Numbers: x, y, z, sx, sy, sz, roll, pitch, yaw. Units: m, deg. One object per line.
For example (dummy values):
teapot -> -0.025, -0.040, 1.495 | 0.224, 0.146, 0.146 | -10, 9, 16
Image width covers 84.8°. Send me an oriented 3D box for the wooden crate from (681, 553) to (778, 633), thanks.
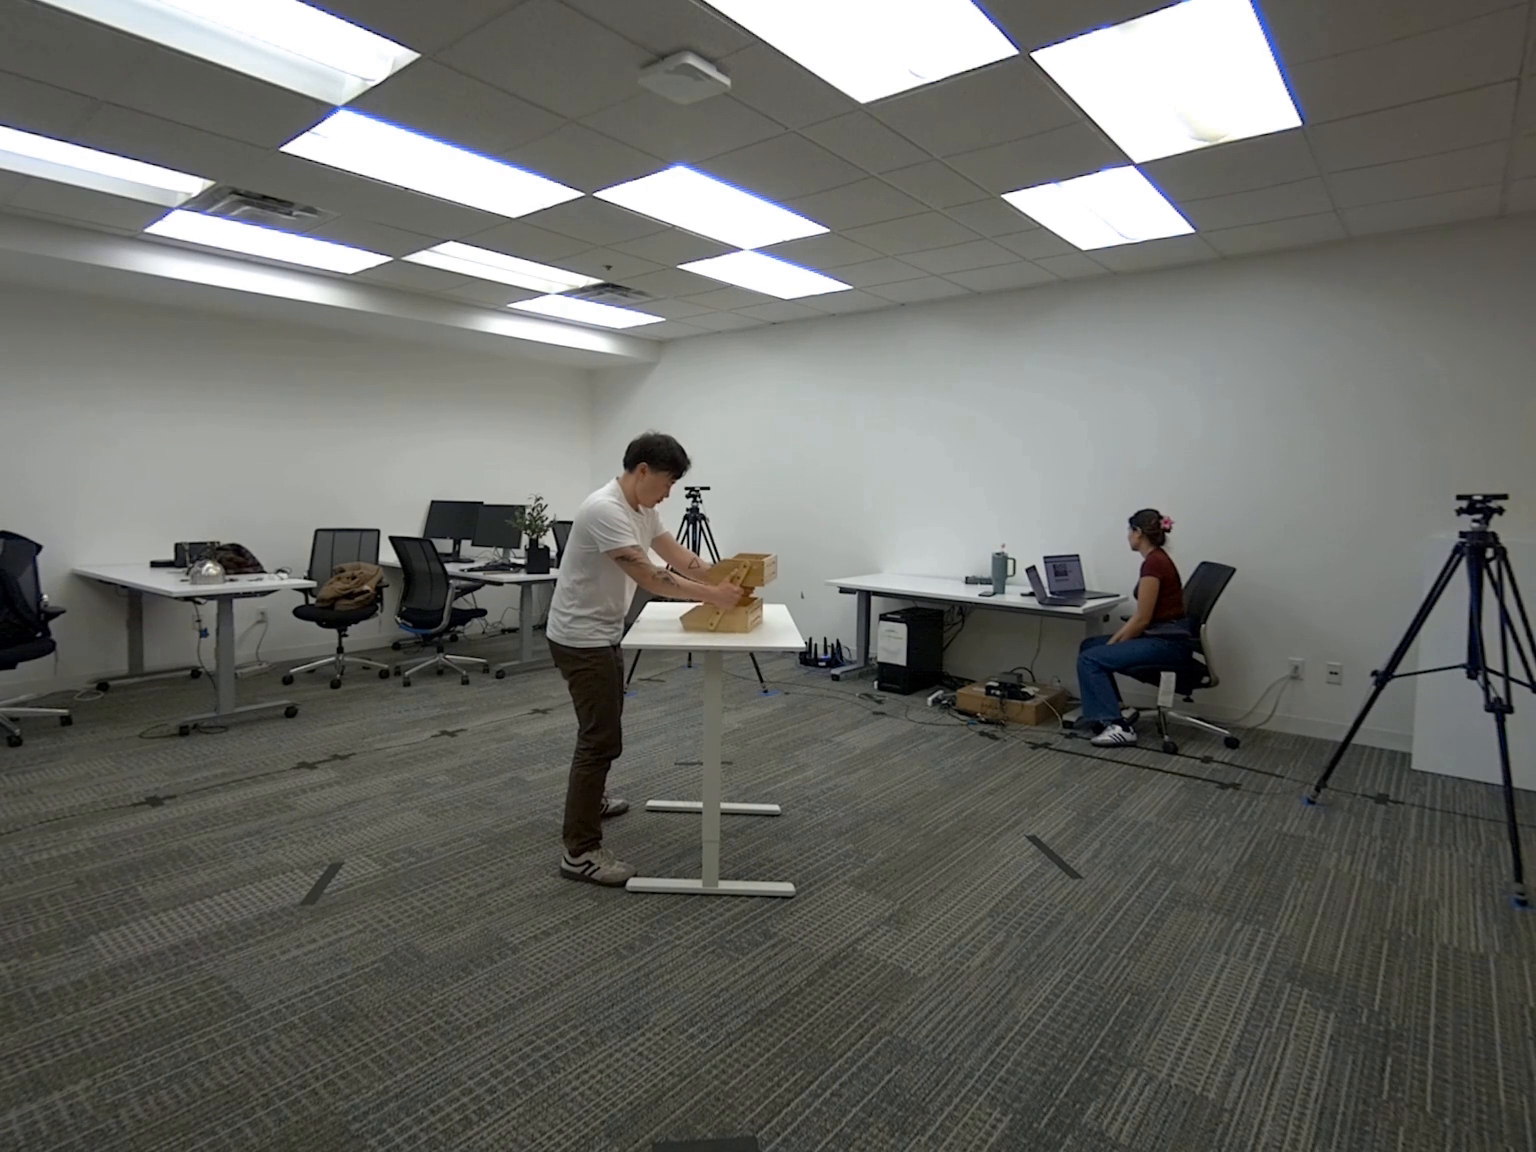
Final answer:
wooden crate -> -0.155, 0.051, 3.151 | 0.306, 0.272, 0.321 | 3, 4, 11
